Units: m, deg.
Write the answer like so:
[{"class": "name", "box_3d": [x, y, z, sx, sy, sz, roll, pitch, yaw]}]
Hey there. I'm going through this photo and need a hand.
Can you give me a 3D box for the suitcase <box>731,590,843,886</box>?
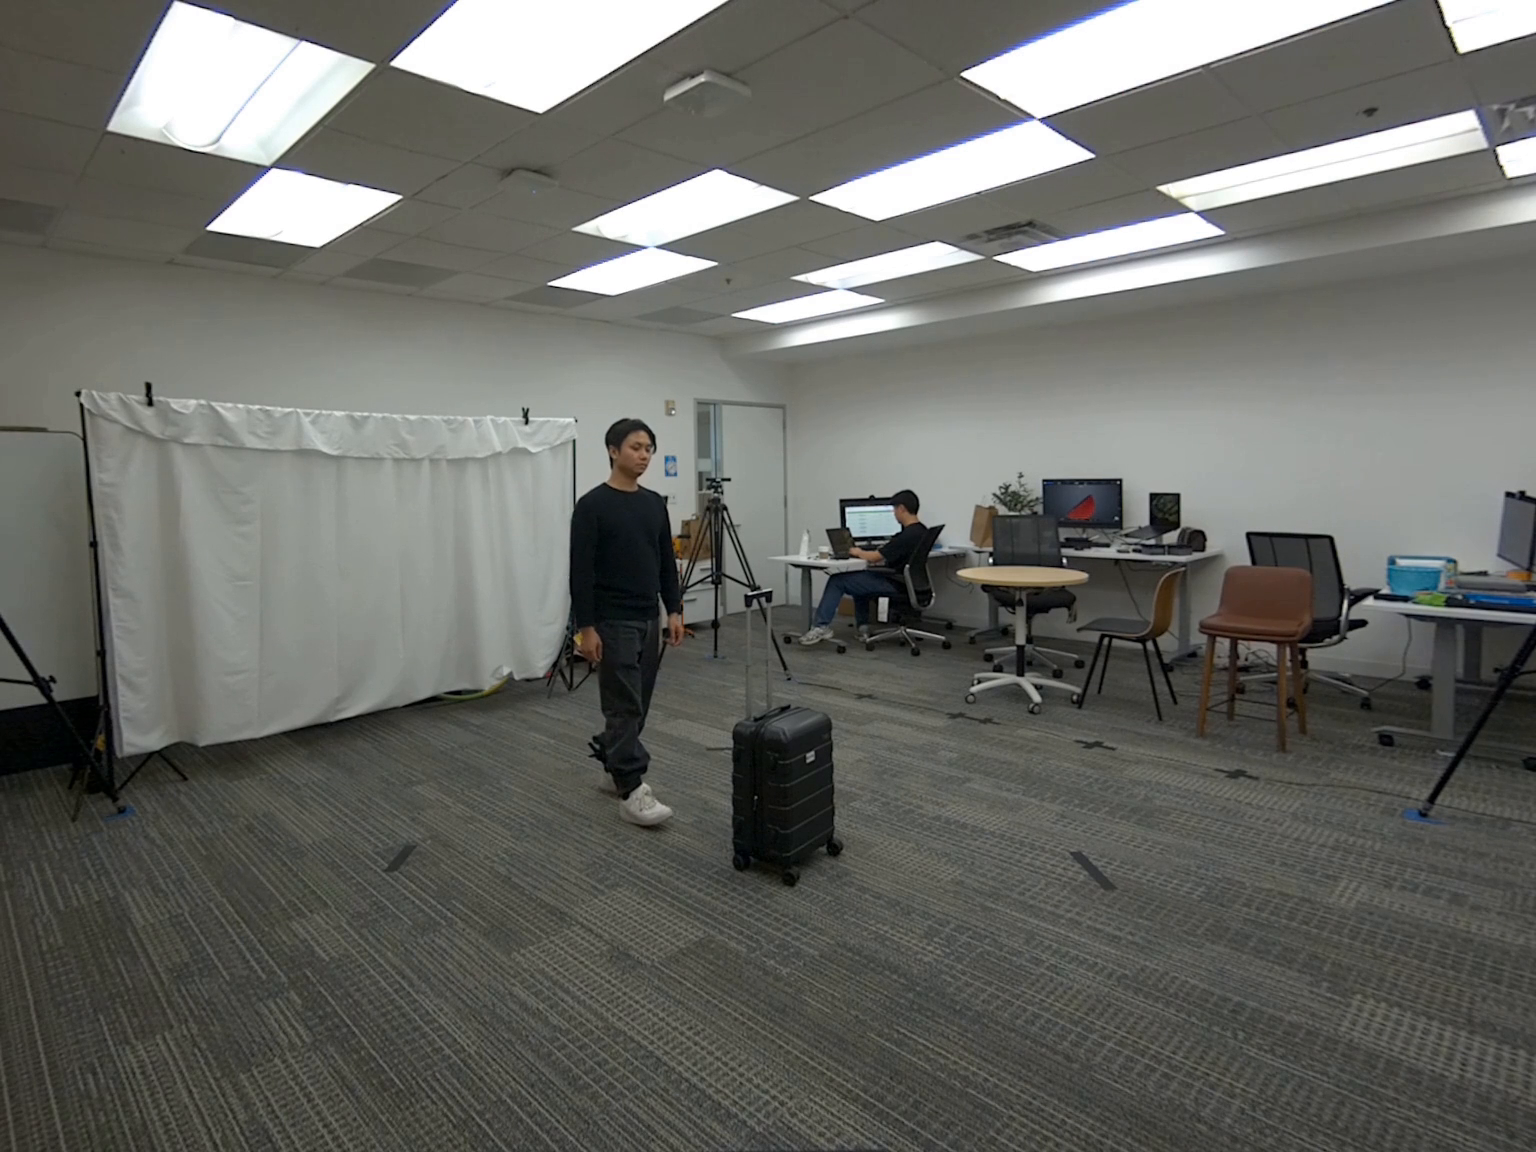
[{"class": "suitcase", "box_3d": [0.064, 0.562, 3.092, 0.264, 0.974, 0.374, 3, 6, 36]}]
